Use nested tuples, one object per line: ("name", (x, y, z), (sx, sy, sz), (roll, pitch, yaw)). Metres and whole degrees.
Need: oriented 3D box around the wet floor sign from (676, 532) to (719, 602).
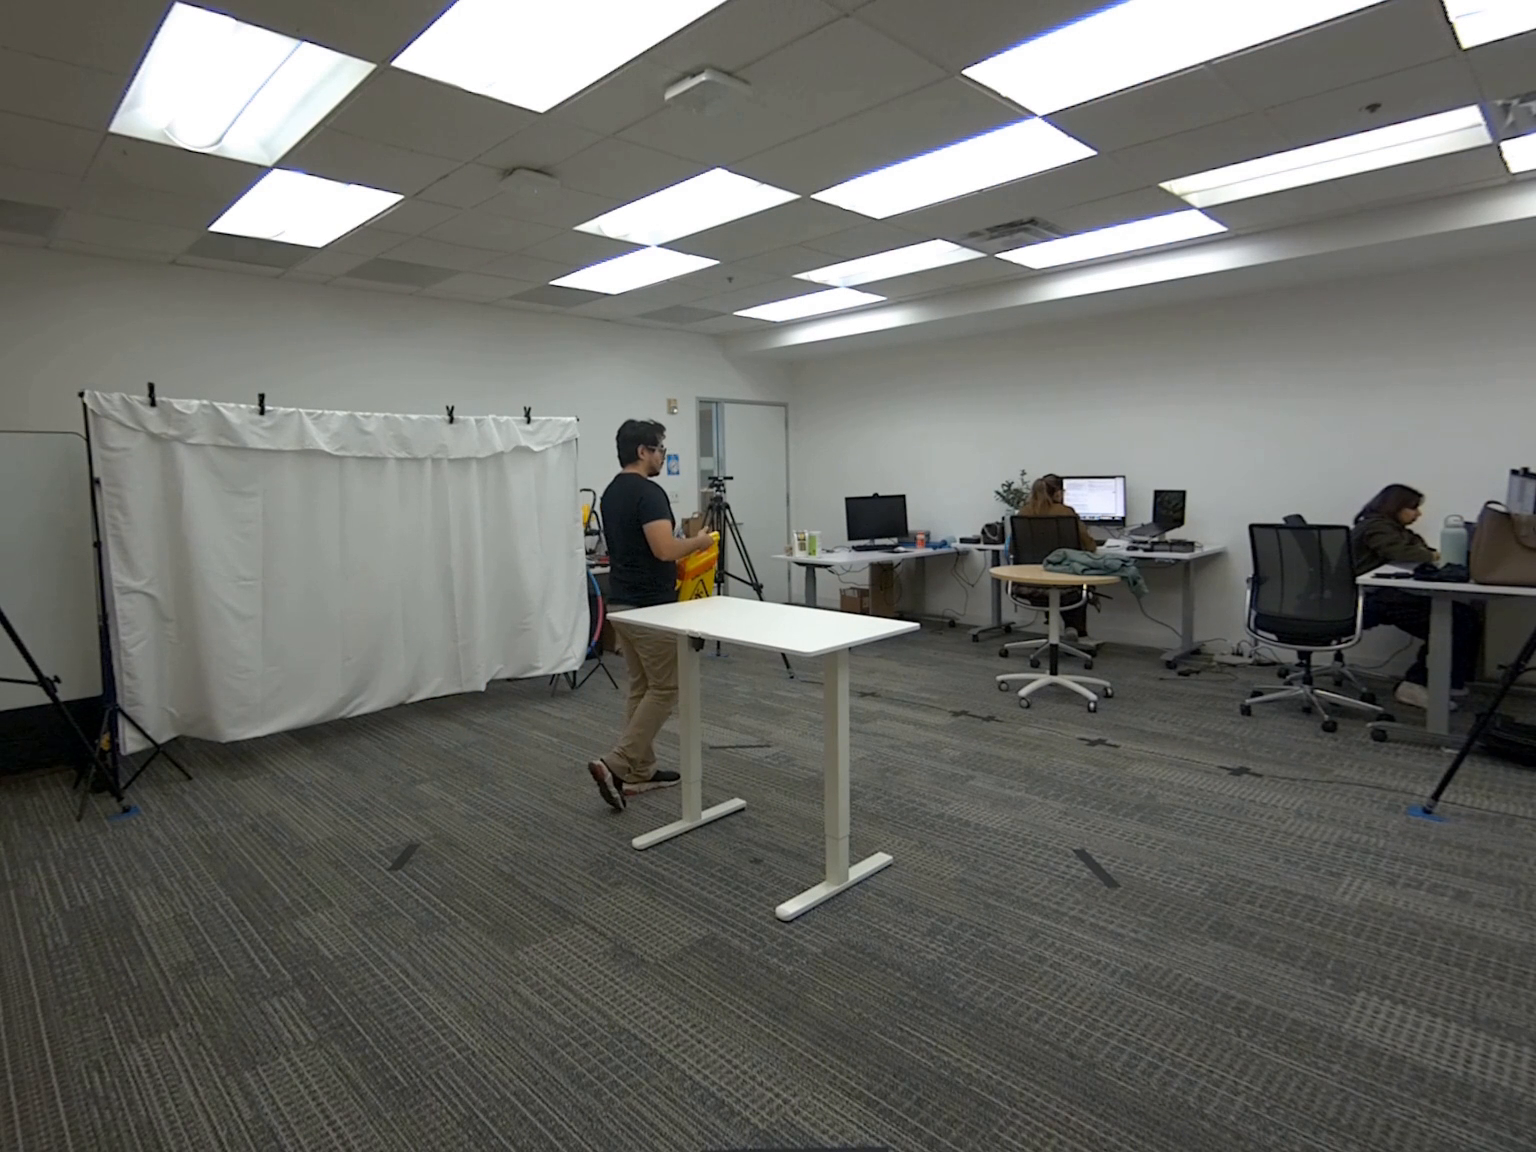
("wet floor sign", (-0.389, 0.058, 4.010), (0.297, 0.638, 0.279), (41, 43, 17))
